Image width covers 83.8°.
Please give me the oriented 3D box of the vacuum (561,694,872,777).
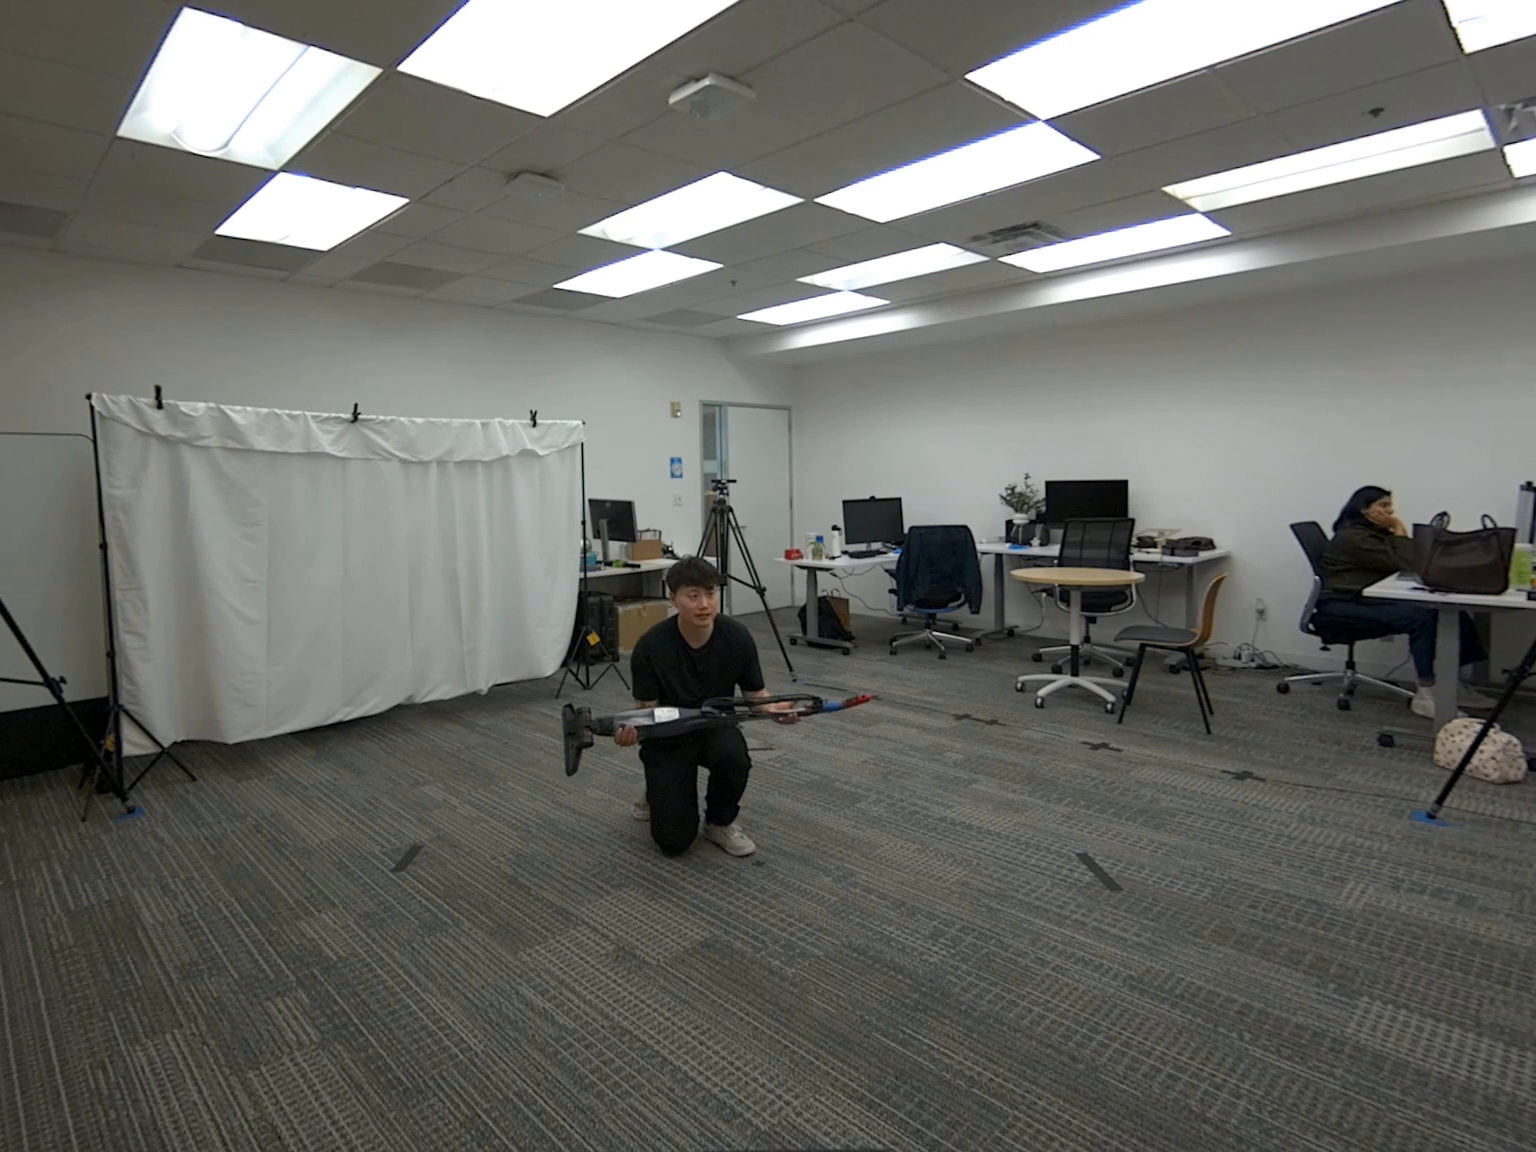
[{"bbox_3d":[-0.158,0.484,2.979,1.040,0.260,0.141,-6,-34,-10],"label":"vacuum"}]
